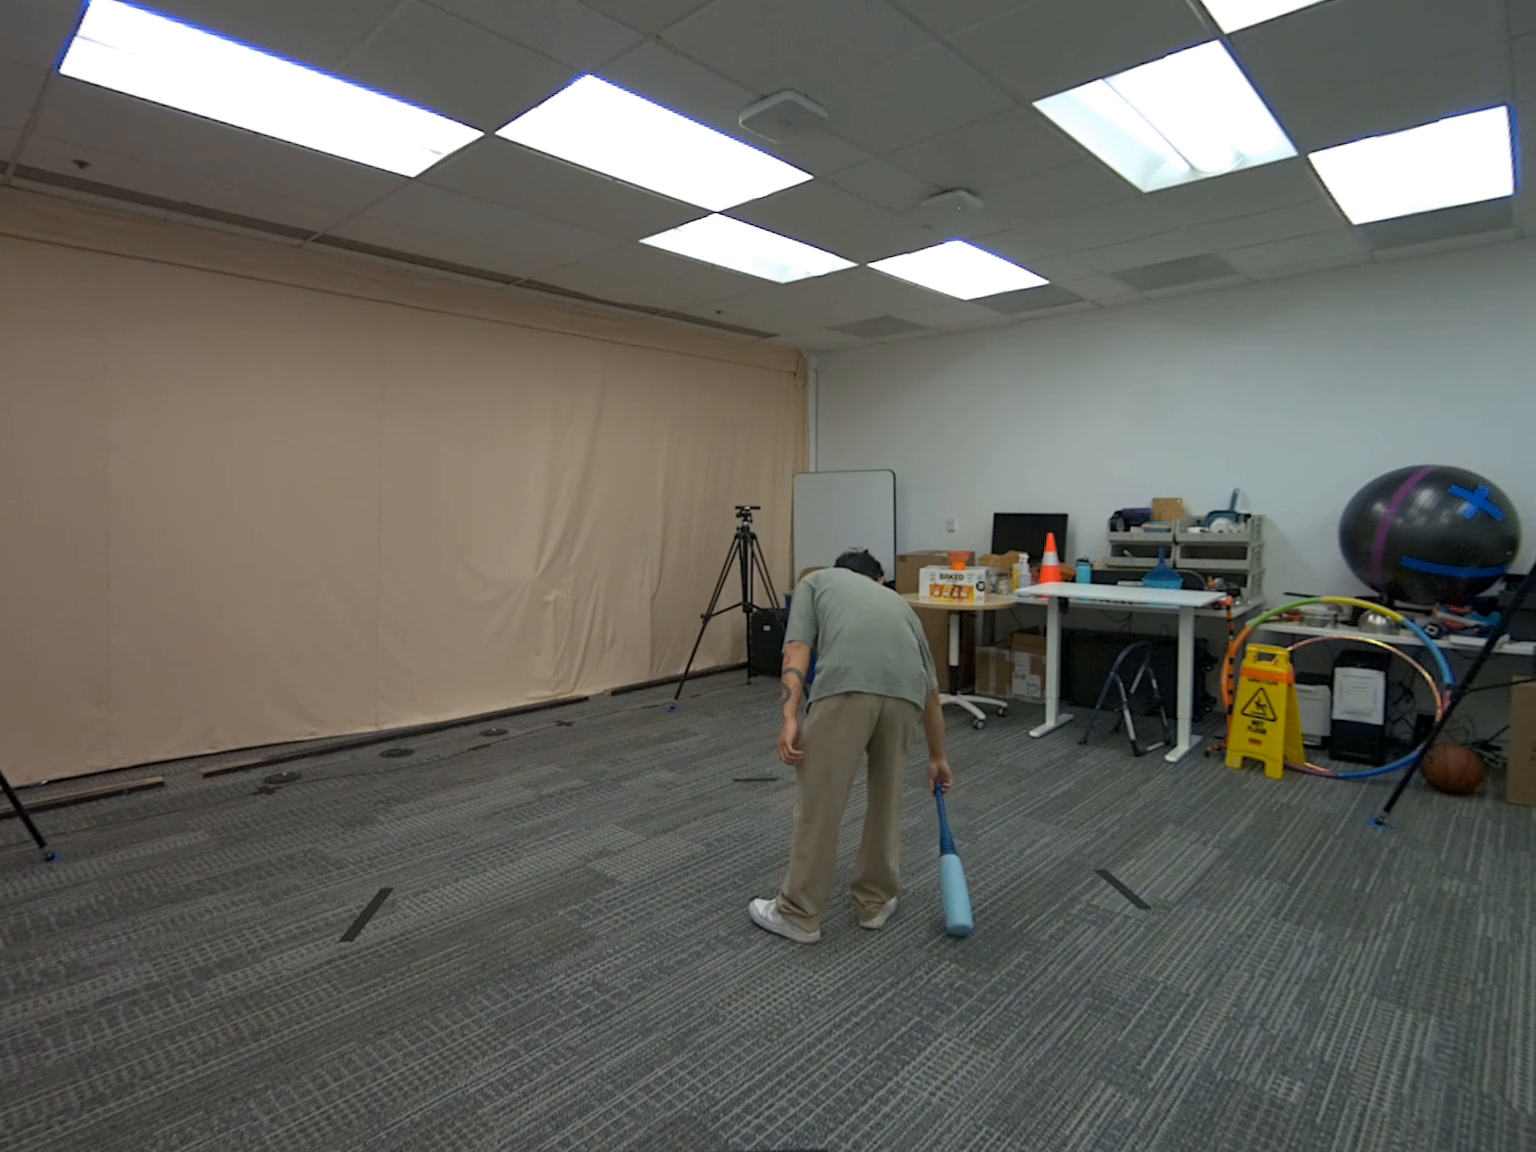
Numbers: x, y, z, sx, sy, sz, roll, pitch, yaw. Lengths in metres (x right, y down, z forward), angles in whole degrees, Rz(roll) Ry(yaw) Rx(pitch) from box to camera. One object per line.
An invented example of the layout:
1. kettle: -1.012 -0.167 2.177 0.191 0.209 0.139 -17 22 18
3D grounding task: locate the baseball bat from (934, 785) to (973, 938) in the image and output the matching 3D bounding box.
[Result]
1. baseball bat: 0.625 0.958 2.892 0.089 0.087 0.551 -1 43 4
